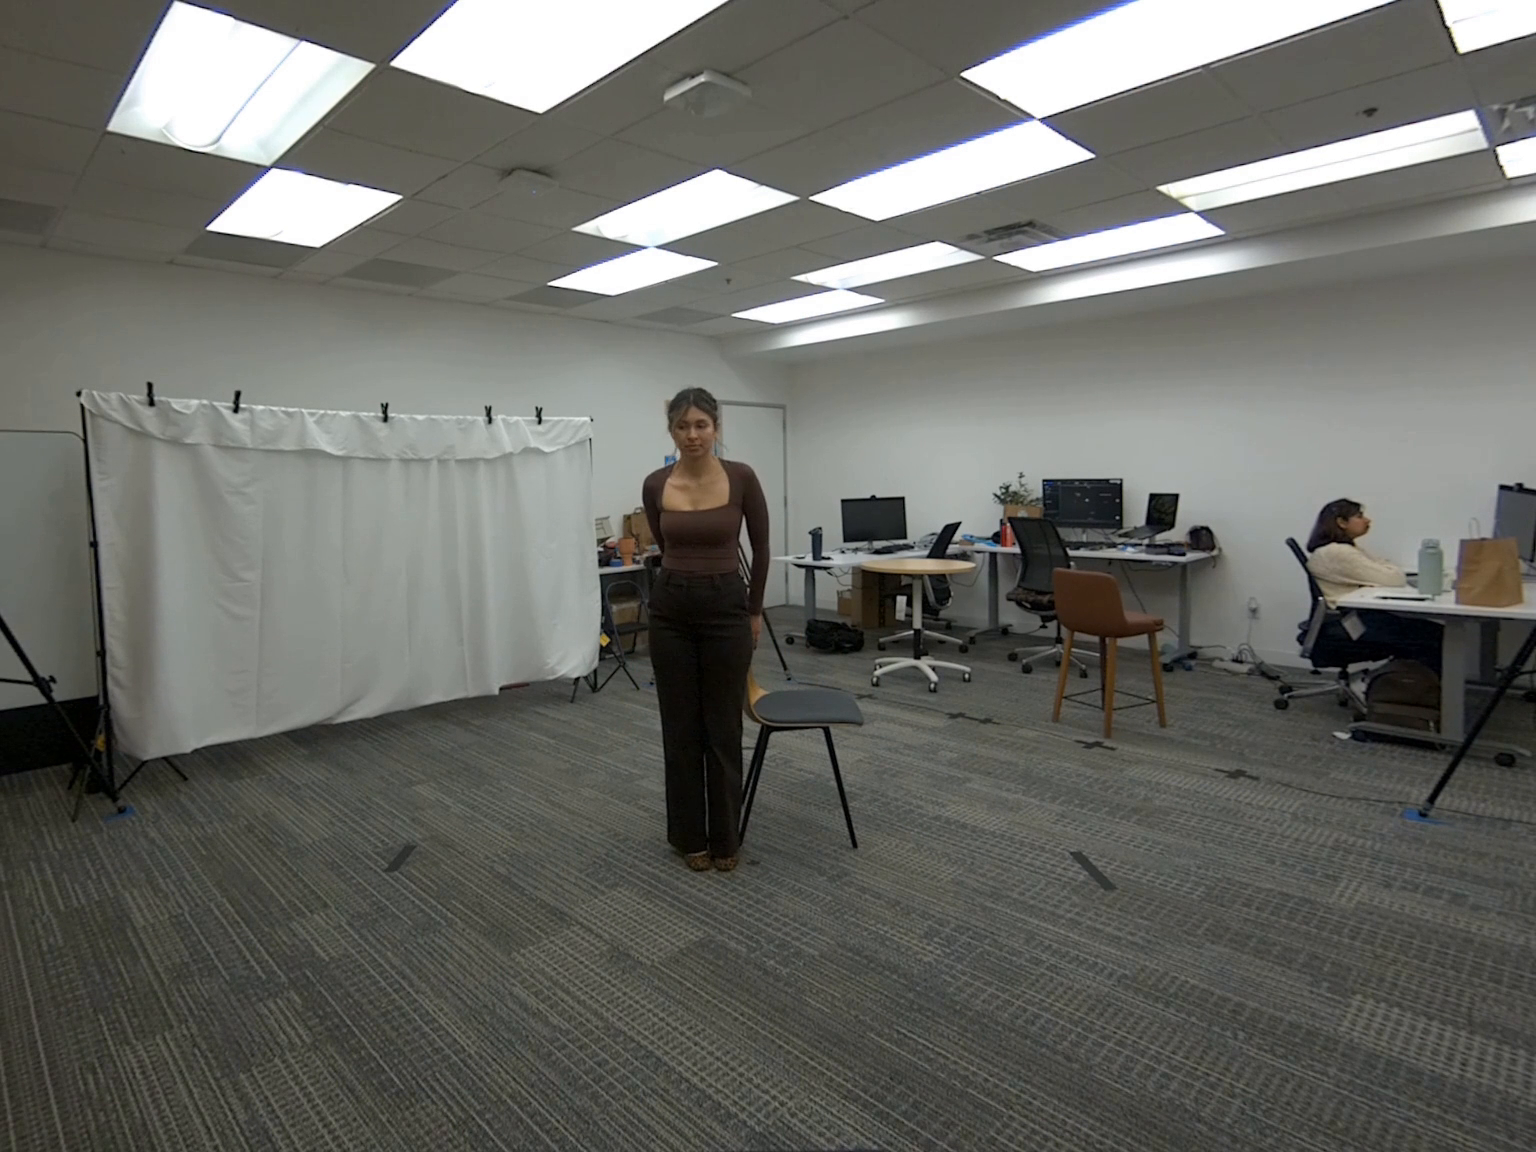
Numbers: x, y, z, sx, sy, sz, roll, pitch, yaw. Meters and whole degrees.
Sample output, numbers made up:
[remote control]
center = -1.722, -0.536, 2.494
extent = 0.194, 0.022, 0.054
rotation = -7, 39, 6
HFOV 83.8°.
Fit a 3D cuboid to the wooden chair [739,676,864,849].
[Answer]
[wooden chair]
center = 0.112, 0.575, 3.417
extent = 0.524, 0.874, 0.479
rotation = -4, 4, 2
